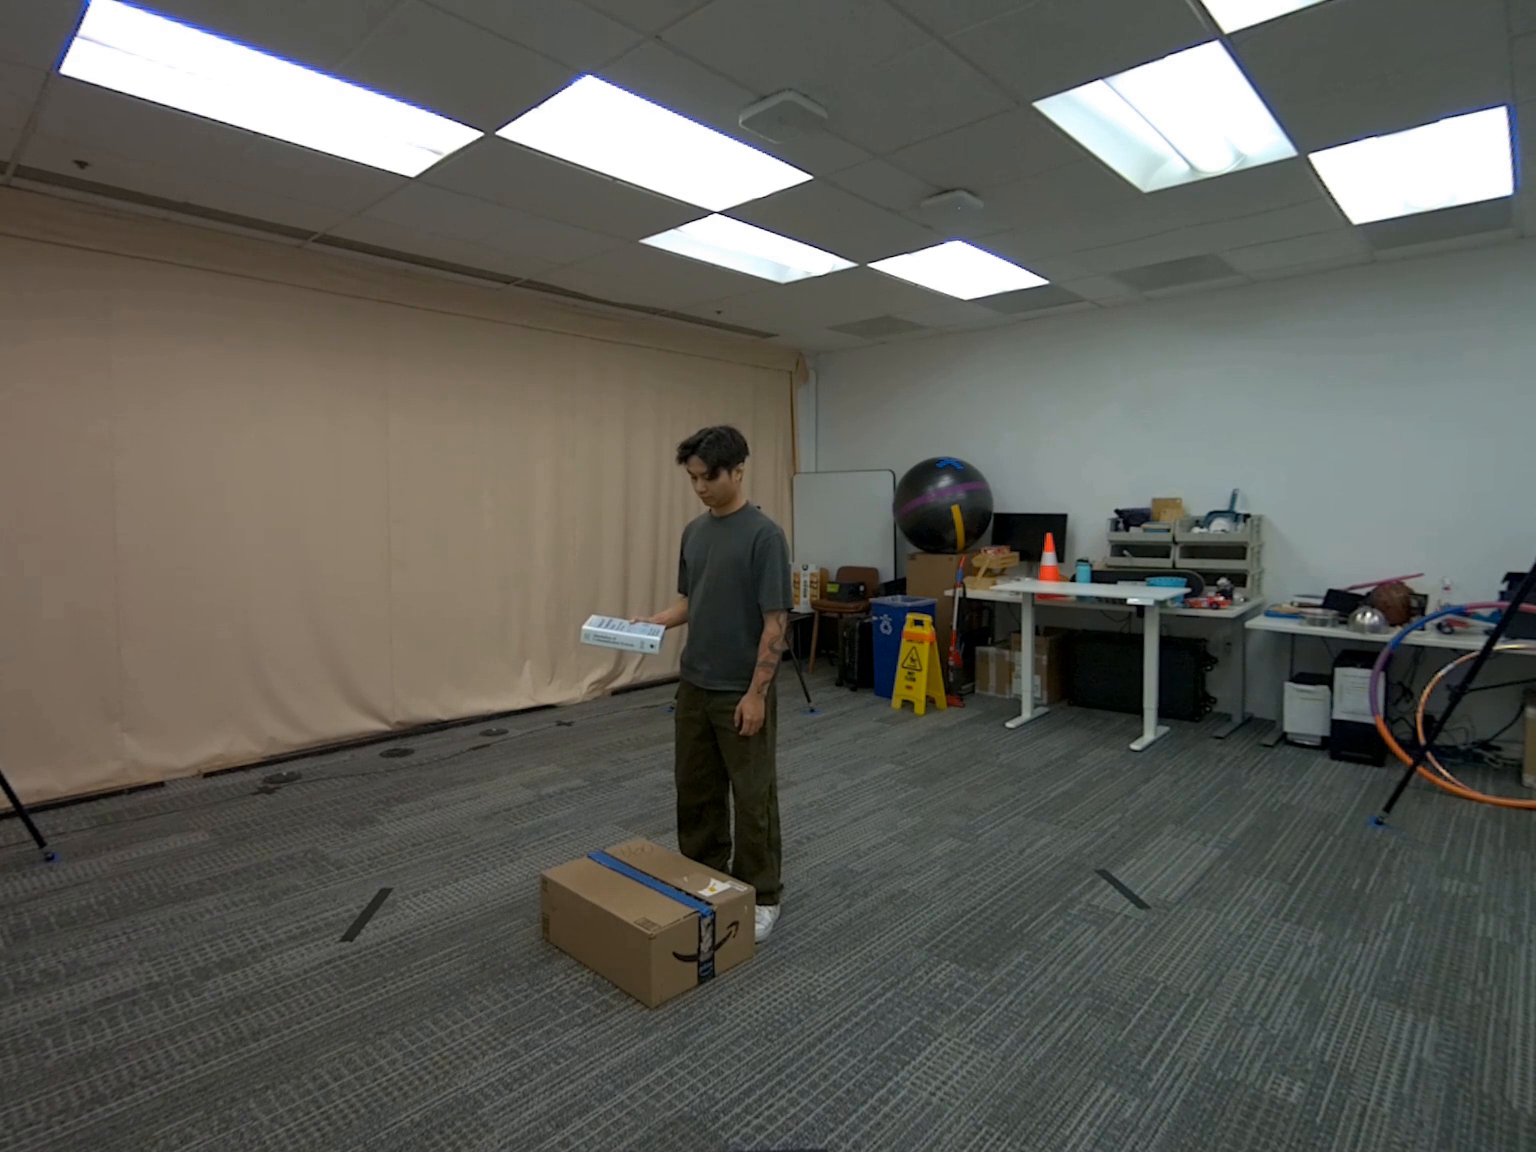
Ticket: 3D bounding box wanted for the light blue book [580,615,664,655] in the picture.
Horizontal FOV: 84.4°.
[{"bbox_3d":[-0.489,0.201,2.845,0.261,0.059,0.192,8,8,1],"label":"light blue book"}]
